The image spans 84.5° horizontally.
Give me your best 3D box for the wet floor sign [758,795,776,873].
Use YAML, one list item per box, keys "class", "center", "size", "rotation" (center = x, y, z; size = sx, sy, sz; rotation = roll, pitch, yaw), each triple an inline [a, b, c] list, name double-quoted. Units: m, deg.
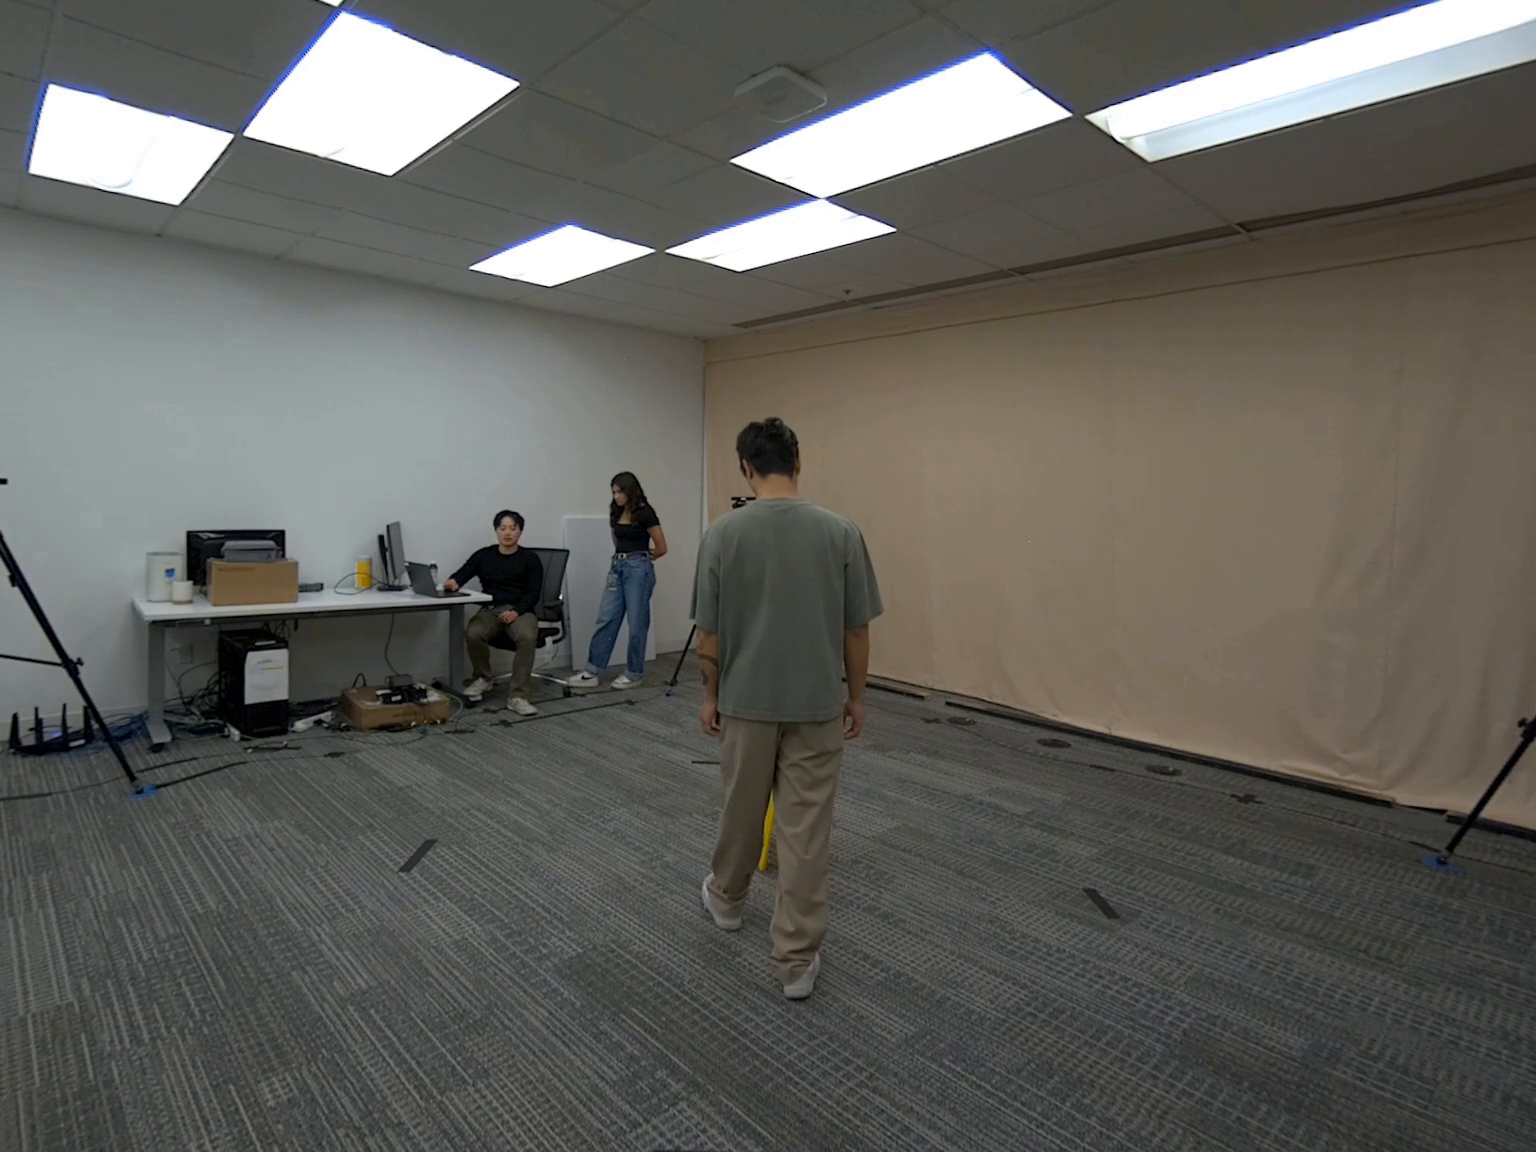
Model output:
- class: "wet floor sign"
  center: [0.073, 0.773, 3.282]
  size: [0.287, 0.644, 0.285]
  rotation: [1, 4, -10]
